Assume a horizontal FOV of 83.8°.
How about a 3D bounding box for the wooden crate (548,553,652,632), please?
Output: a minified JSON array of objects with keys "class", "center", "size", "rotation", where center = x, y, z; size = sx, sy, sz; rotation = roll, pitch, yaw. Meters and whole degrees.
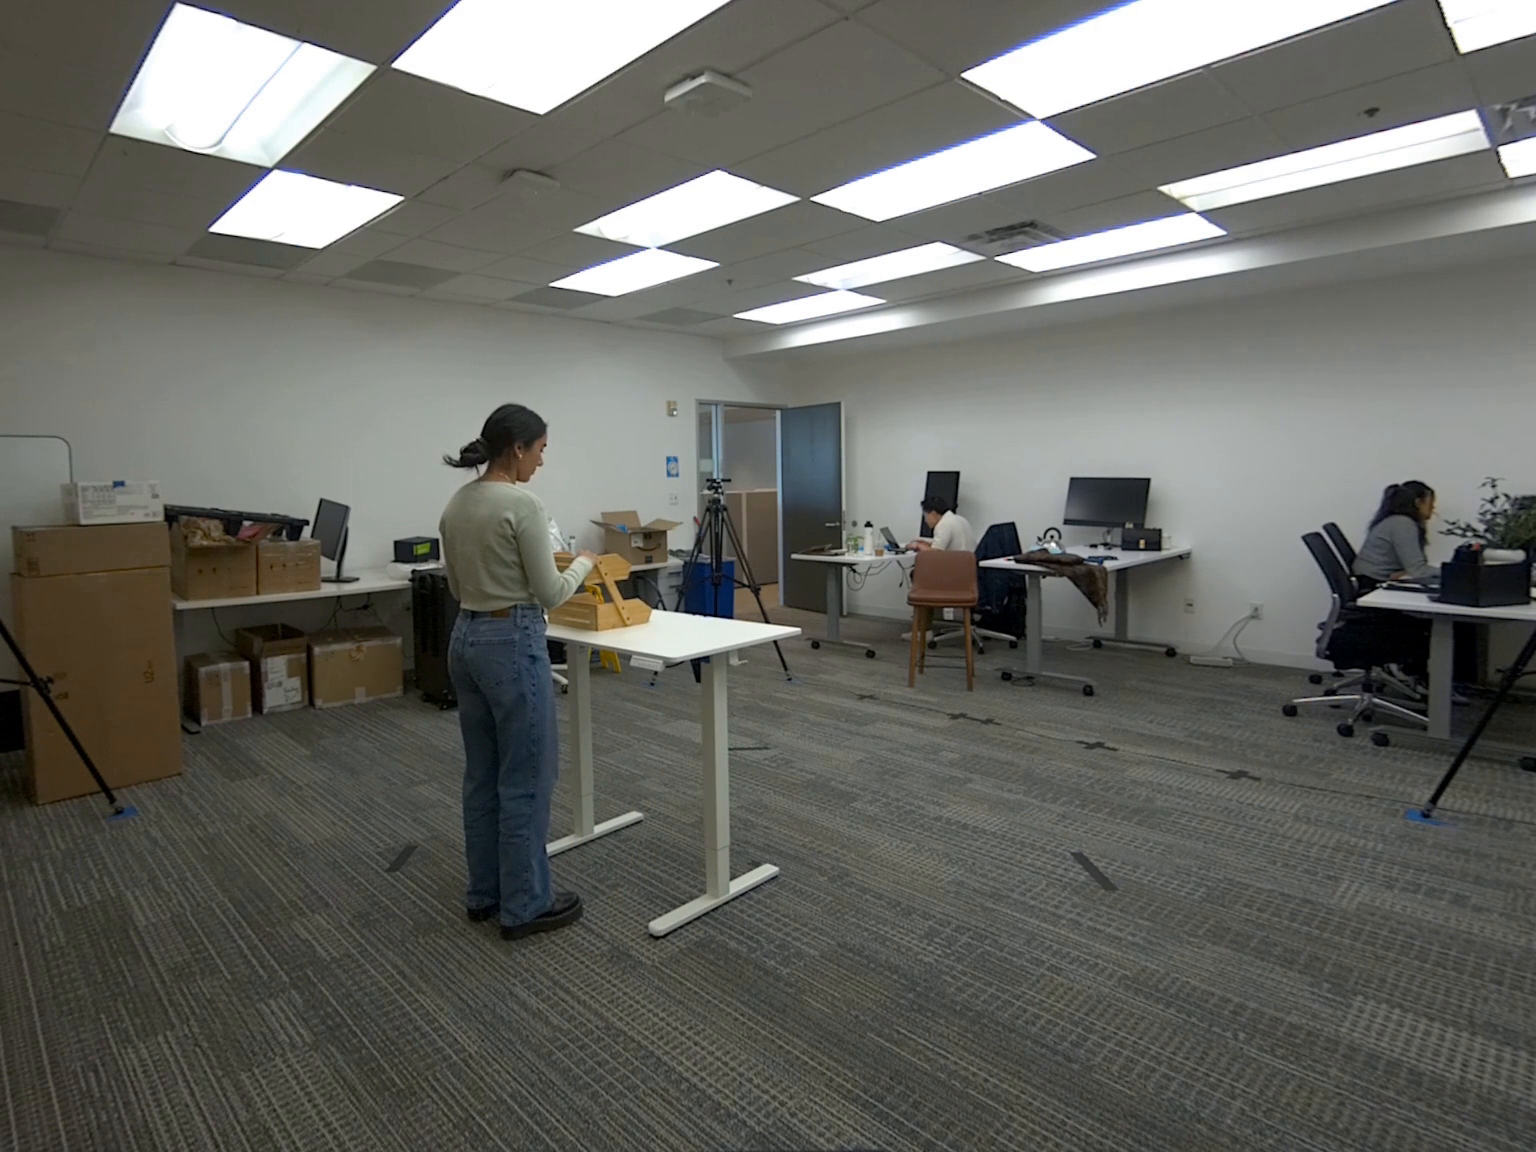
[{"class":"wooden crate","center":[-0.638,0.043,3.107],"size":[0.334,0.272,0.294],"rotation":[4,7,43]}]
